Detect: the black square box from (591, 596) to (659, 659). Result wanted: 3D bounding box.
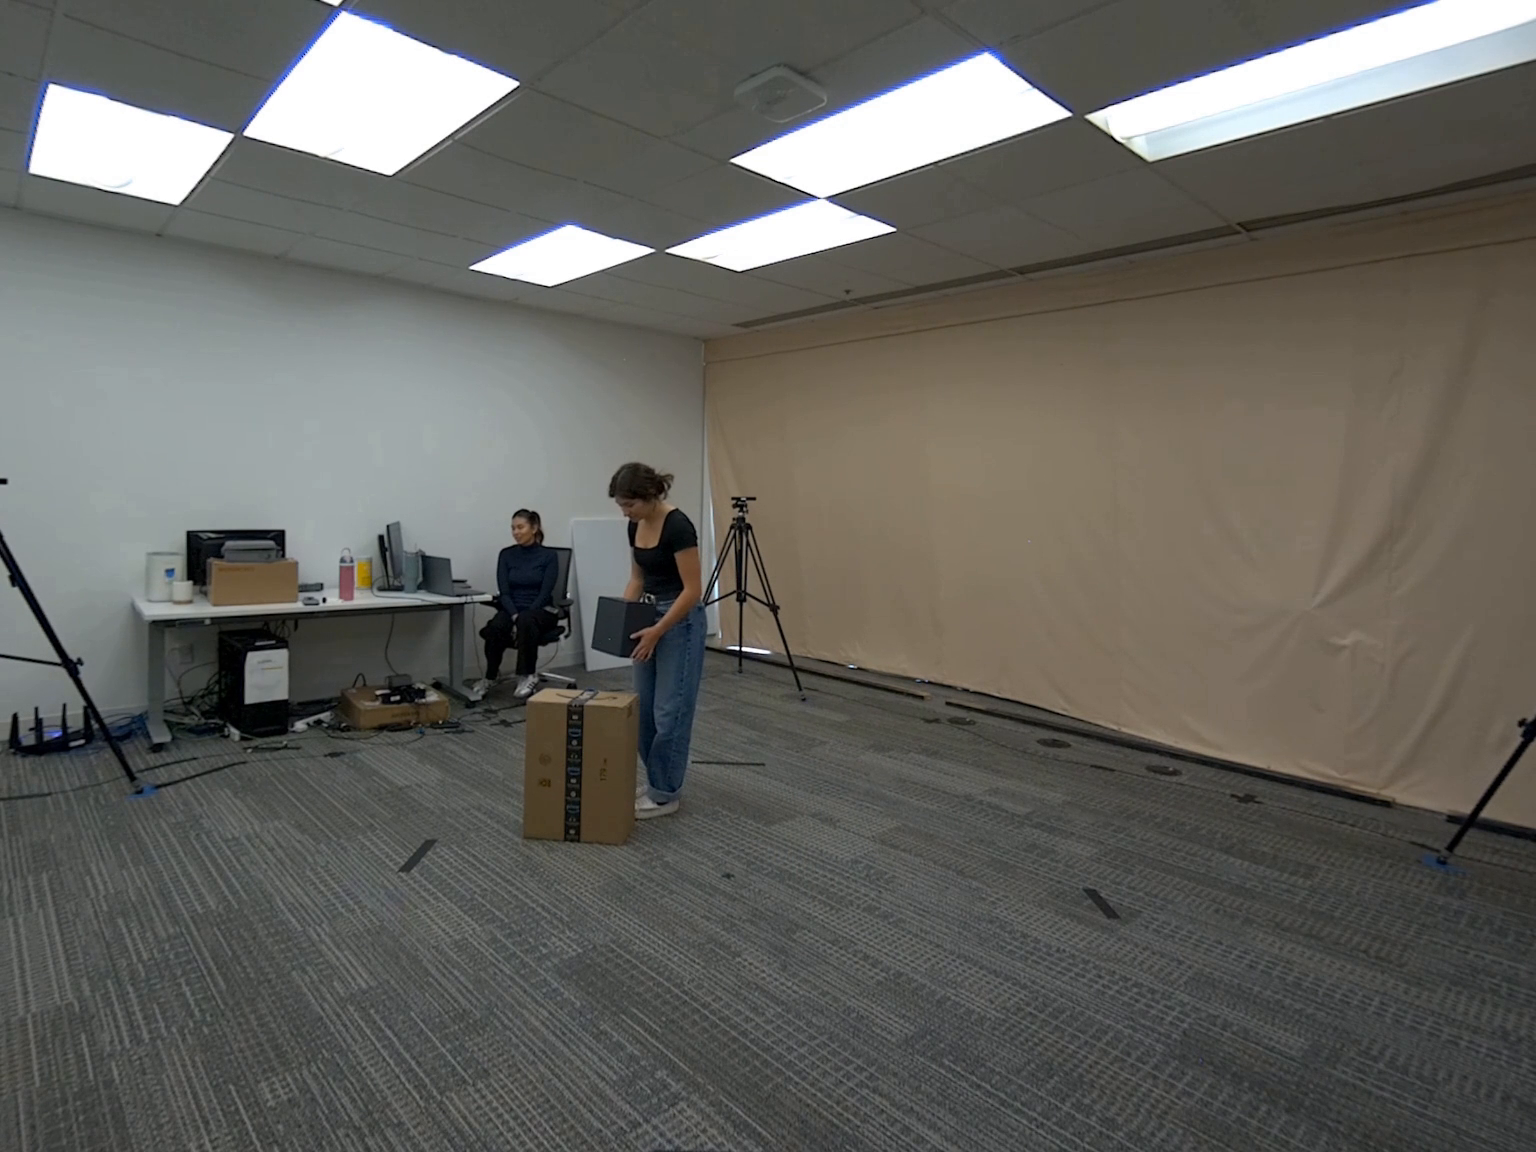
[{"bbox_3d":[-0.620,0.211,3.555,0.152,0.228,0.223,7,0,-44],"label":"black square box"}]
